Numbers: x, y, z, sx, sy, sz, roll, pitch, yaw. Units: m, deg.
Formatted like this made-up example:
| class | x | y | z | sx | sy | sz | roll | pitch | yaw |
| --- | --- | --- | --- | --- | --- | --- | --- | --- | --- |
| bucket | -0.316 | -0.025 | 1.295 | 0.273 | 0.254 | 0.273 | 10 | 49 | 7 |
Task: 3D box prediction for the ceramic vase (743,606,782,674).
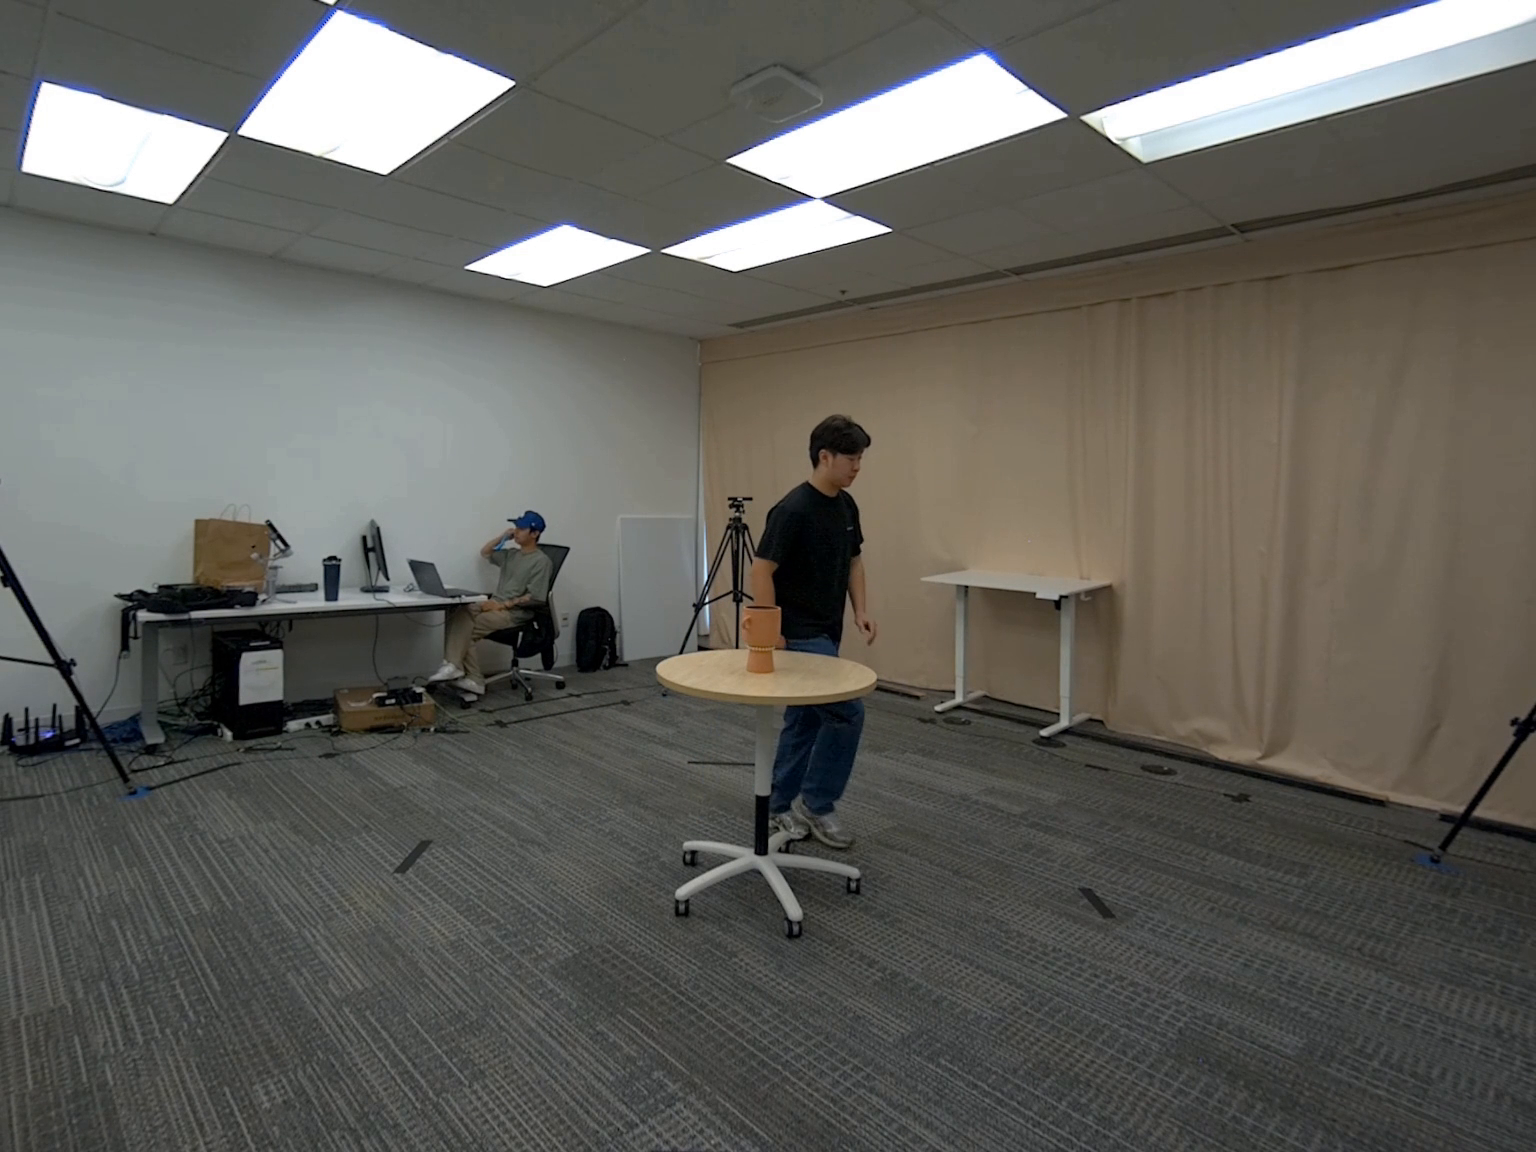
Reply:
| class | x | y | z | sx | sy | sz | roll | pitch | yaw |
| --- | --- | --- | --- | --- | --- | --- | --- | --- | --- |
| ceramic vase | -0.034 | 0.221 | 2.920 | 0.157 | 0.219 | 0.136 | 1 | 5 | -11 |
